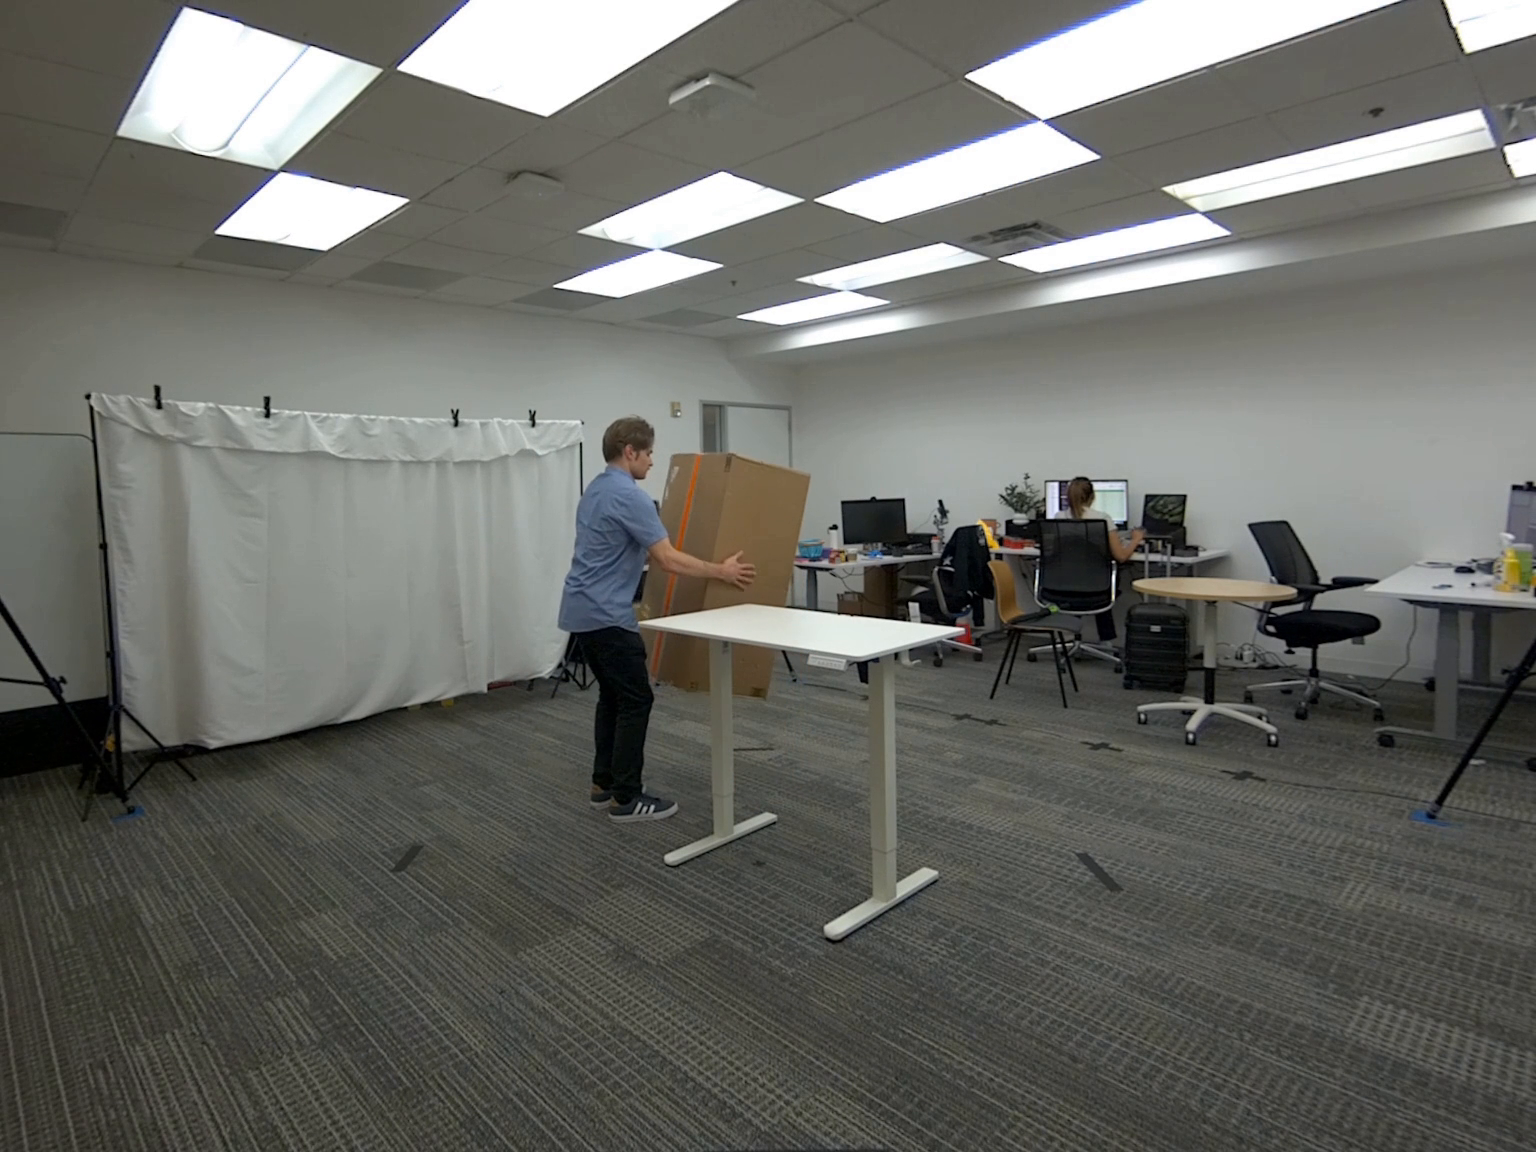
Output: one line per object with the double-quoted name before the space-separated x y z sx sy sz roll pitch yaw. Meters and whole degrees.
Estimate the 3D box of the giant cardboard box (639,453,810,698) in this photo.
"giant cardboard box" -0.227 -0.014 3.920 0.413 1.027 0.594 12 -2 -32
